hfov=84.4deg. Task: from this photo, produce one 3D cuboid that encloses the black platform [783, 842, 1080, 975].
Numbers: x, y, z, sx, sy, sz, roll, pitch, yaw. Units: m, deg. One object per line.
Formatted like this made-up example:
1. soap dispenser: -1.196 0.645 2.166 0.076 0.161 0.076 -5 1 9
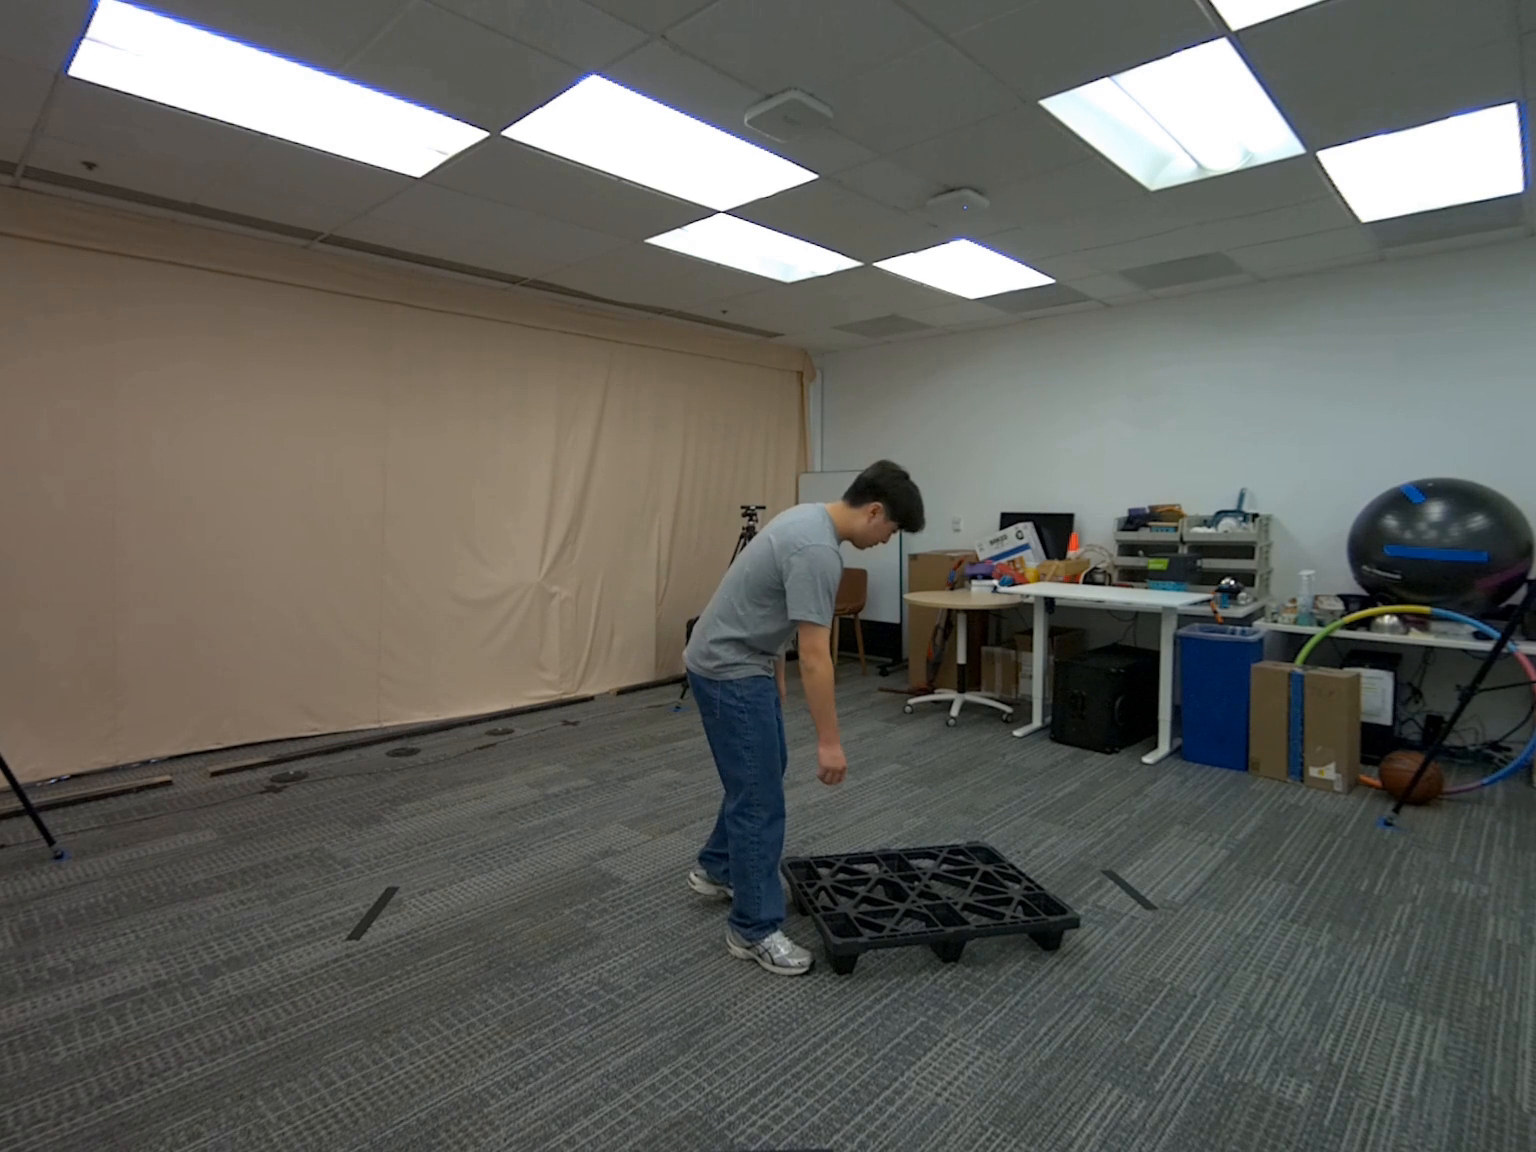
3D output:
1. black platform: 0.512 1.093 2.780 0.796 0.143 0.614 -1 6 -12
